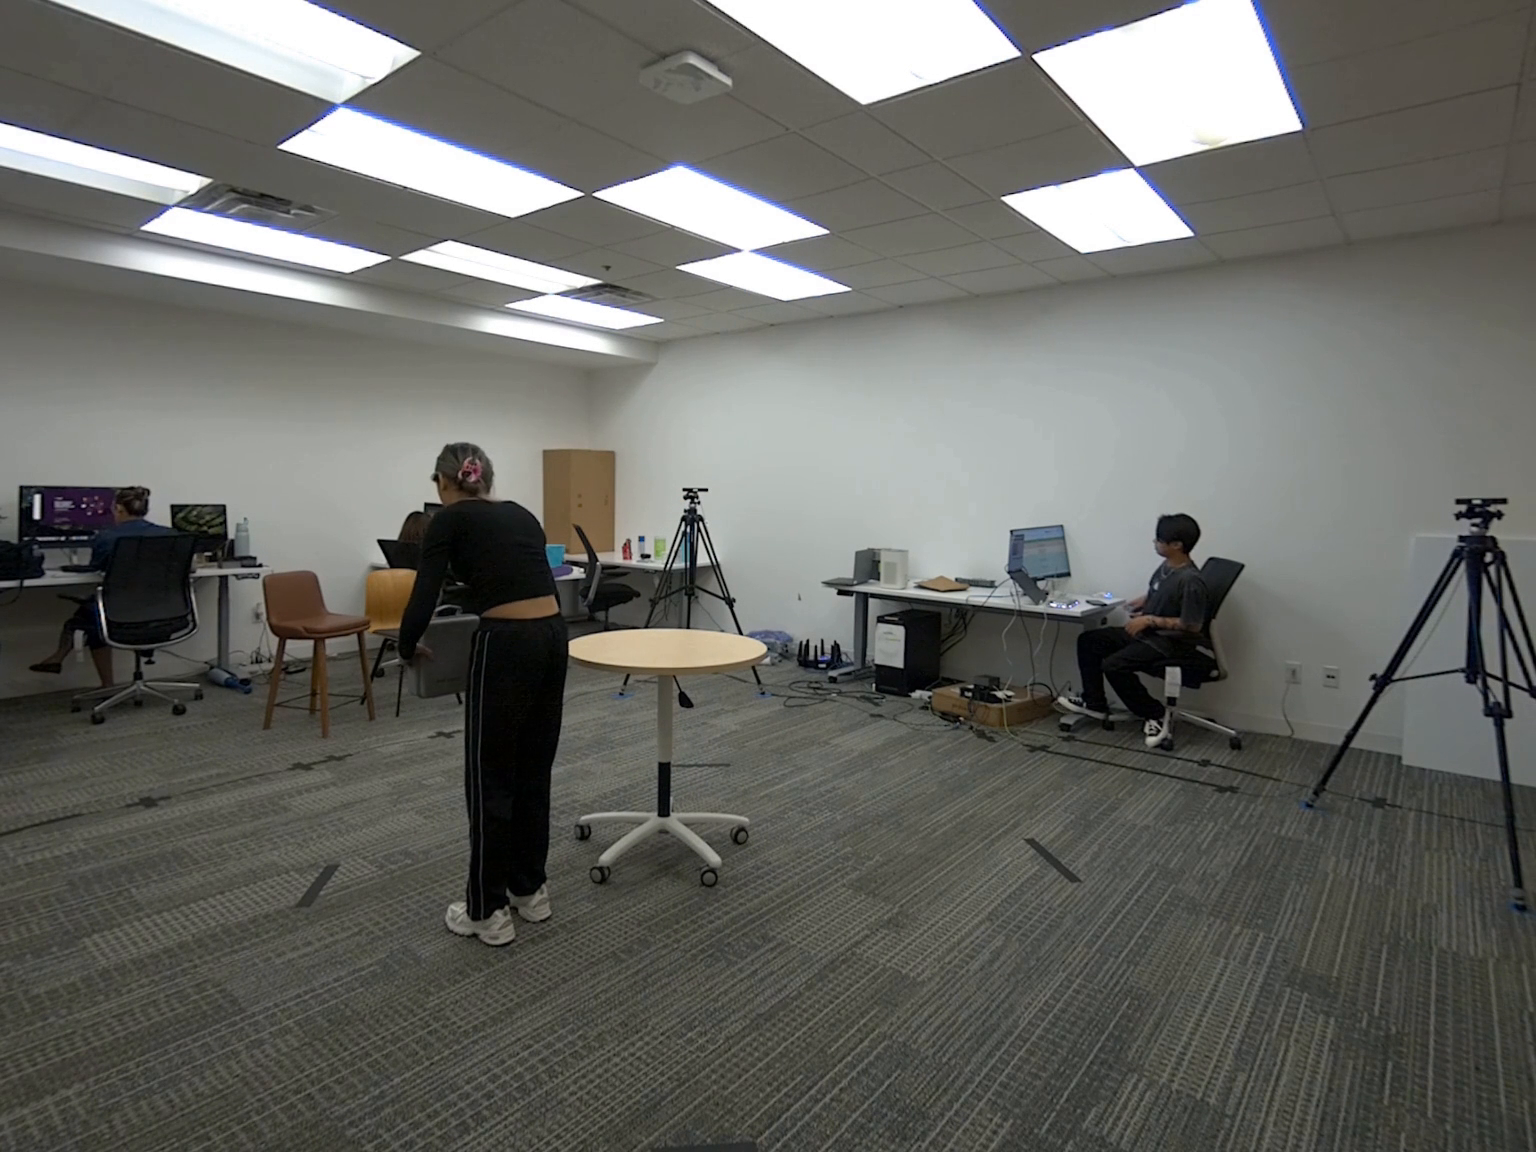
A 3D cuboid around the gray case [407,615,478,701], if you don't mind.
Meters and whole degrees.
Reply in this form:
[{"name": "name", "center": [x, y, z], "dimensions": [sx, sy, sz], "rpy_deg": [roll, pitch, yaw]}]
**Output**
[{"name": "gray case", "center": [-1.082, 0.260, 2.843], "dimensions": [0.107, 0.260, 0.249], "rpy_deg": [-1, 2, 42]}]
